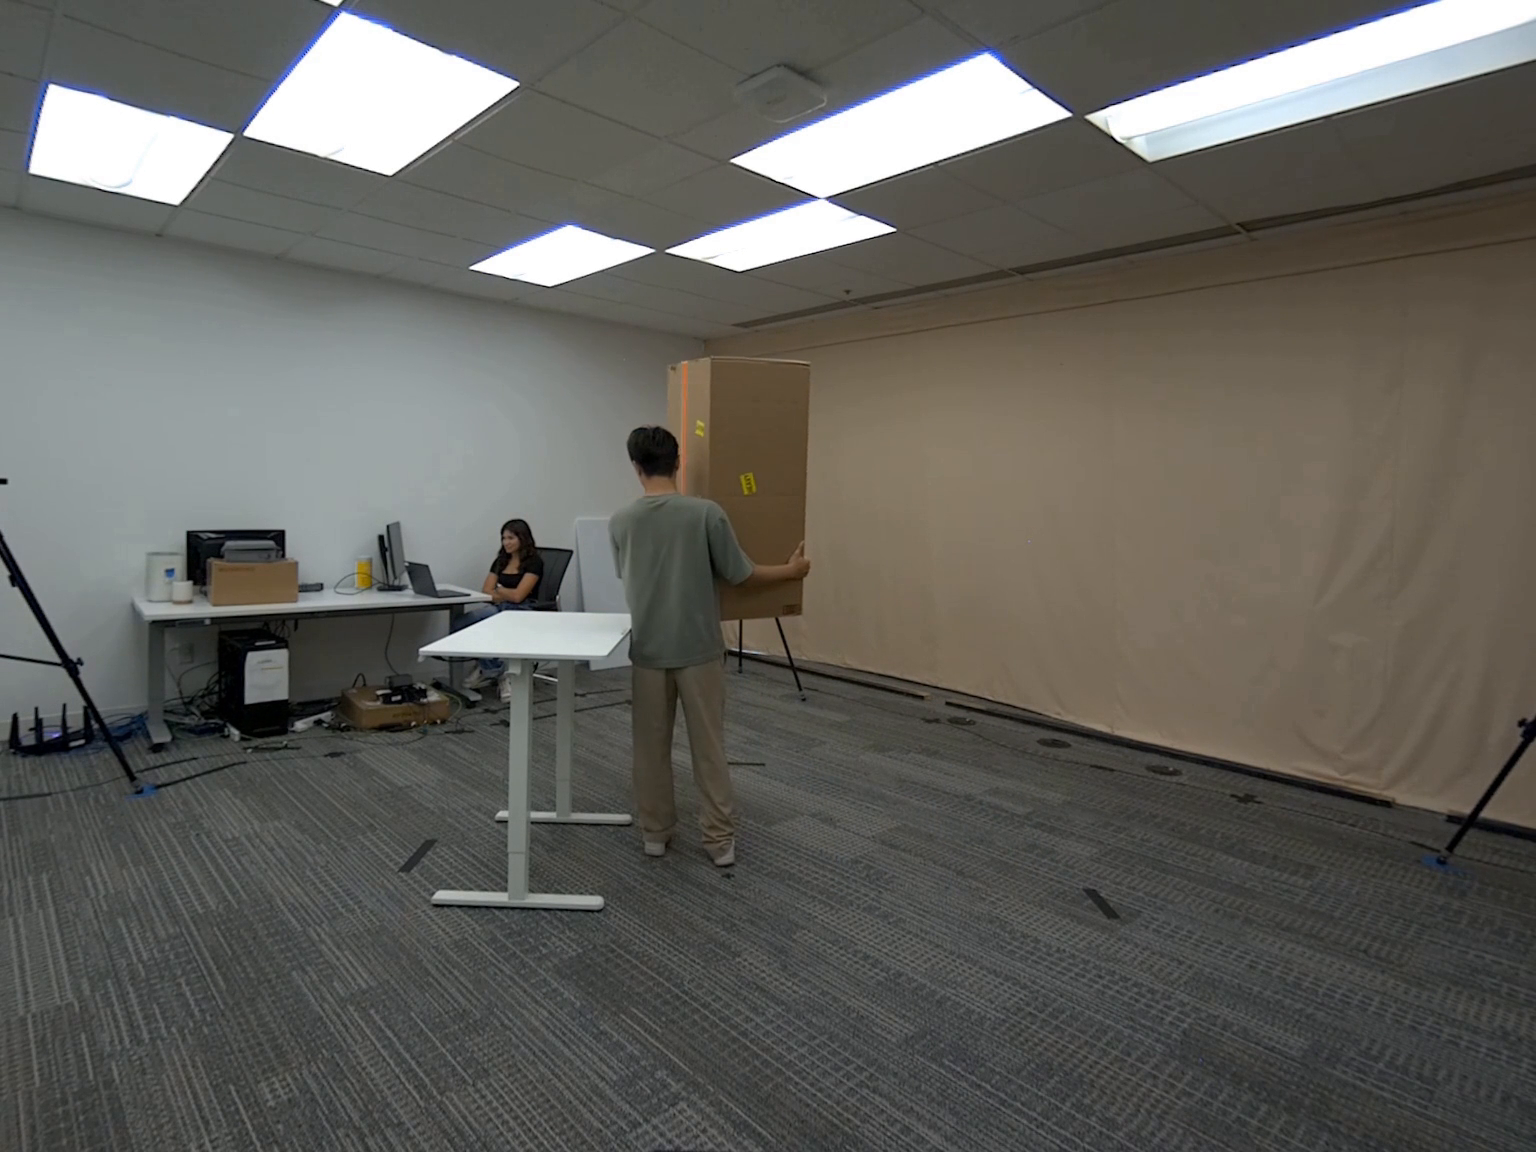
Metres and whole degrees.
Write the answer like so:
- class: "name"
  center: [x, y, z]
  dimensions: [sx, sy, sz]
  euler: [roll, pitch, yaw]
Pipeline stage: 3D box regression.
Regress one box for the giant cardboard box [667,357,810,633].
- class: "giant cardboard box"
  center: [-0.158, -0.376, 3.561]
  dimensions: [0.419, 1.020, 0.590]
  euler: [-2, 9, -22]
